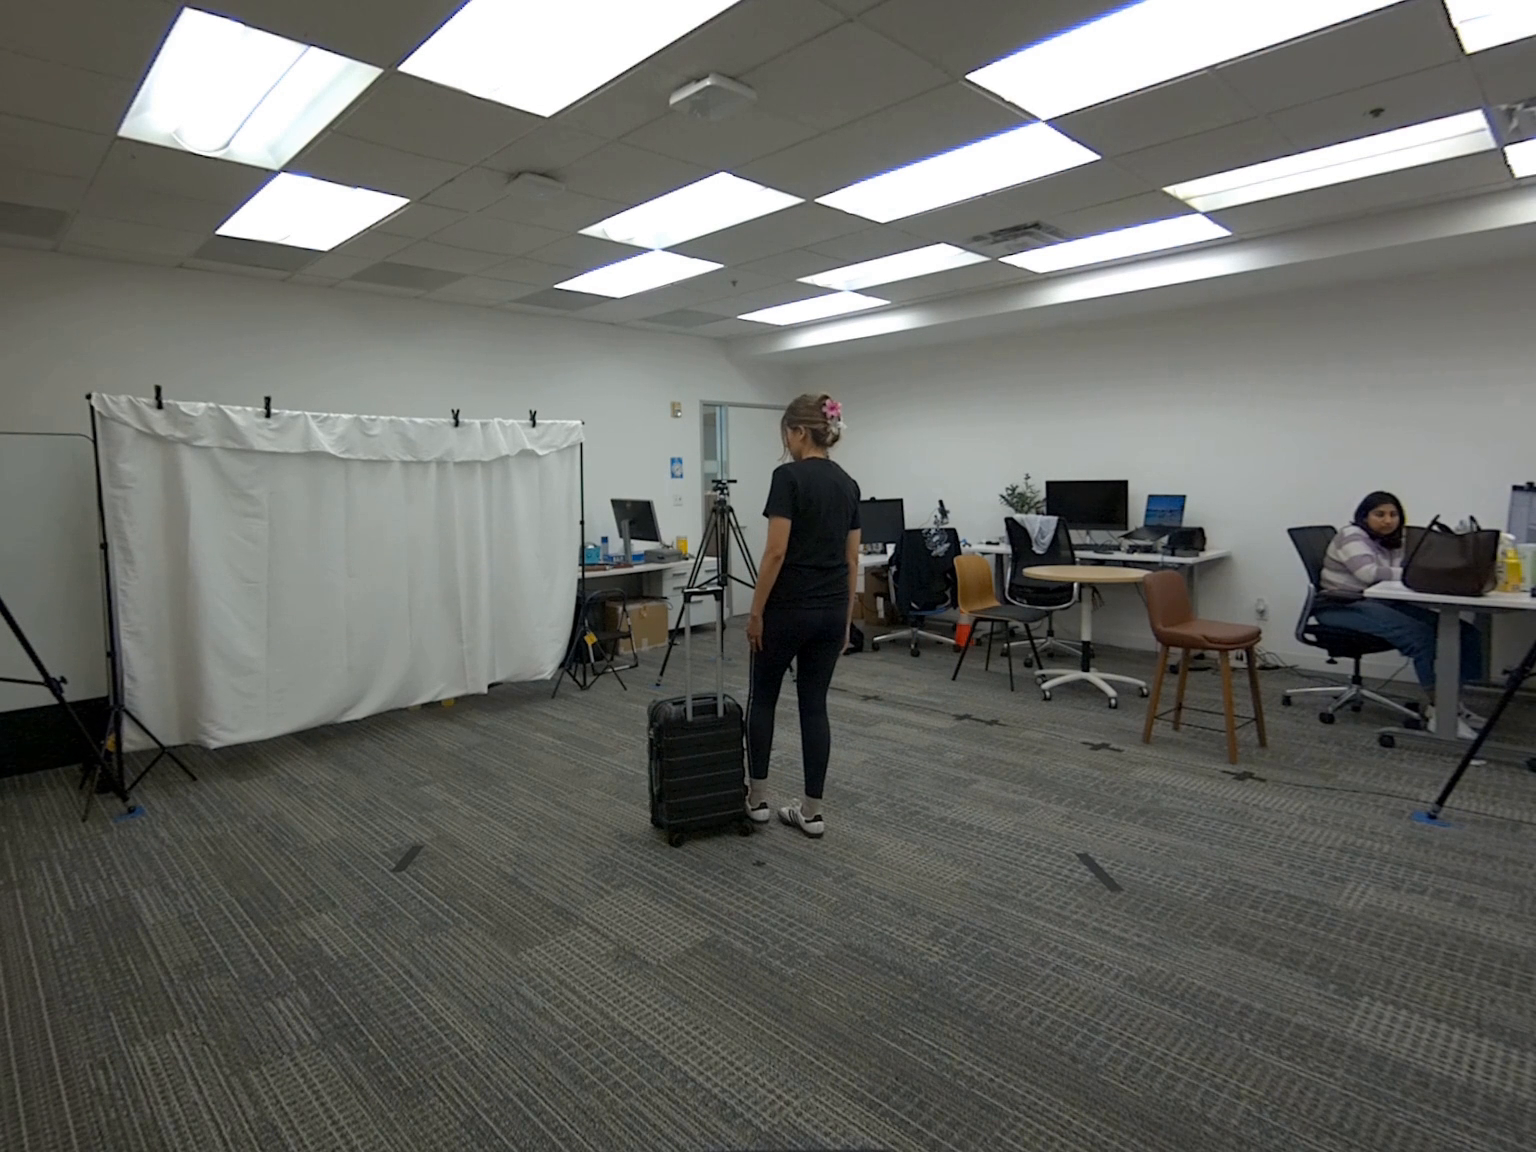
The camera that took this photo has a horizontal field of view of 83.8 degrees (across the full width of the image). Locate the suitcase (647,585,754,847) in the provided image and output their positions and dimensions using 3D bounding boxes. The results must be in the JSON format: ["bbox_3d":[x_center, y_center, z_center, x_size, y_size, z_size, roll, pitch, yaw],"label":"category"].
[{"bbox_3d":[-0.295,0.543,3.389,0.377,0.976,0.262,-2,3,-21],"label":"suitcase"}]
